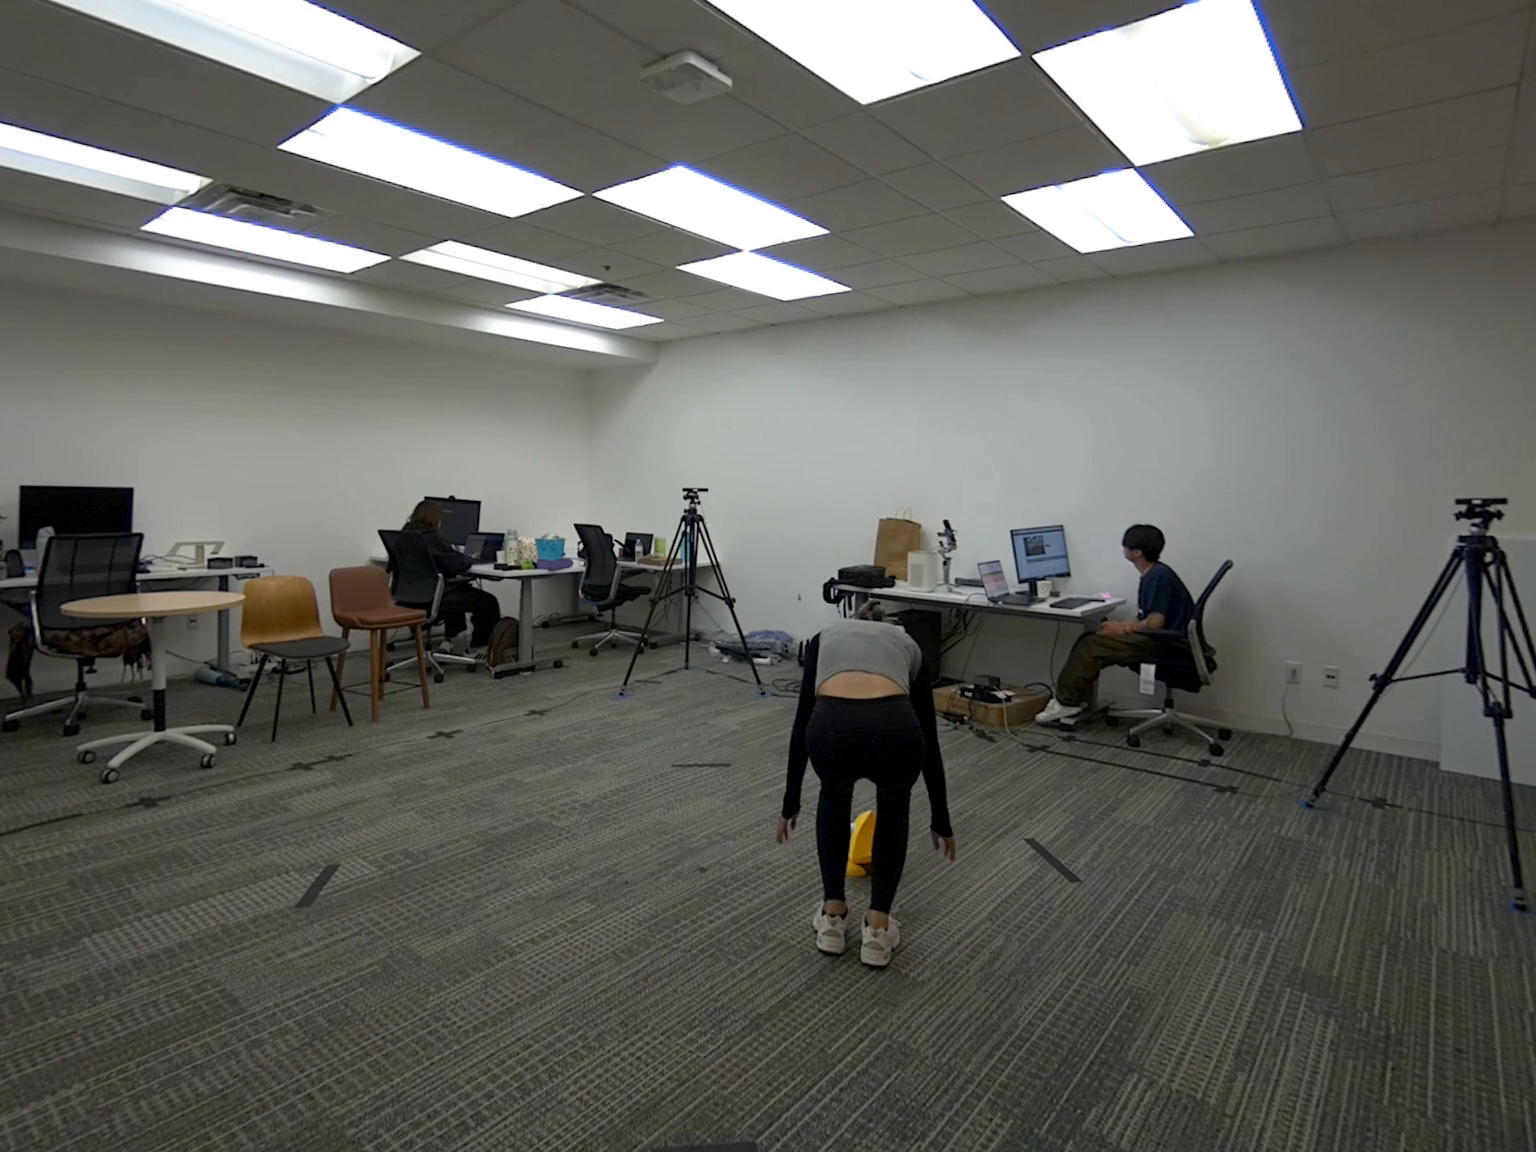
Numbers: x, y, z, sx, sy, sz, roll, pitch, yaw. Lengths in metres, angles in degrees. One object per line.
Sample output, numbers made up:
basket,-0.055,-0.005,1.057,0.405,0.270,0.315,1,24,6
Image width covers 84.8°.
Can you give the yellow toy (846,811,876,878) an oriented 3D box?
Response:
yellow toy,0.338,0.955,3.149,0.200,0.229,0.199,-2,6,-27
